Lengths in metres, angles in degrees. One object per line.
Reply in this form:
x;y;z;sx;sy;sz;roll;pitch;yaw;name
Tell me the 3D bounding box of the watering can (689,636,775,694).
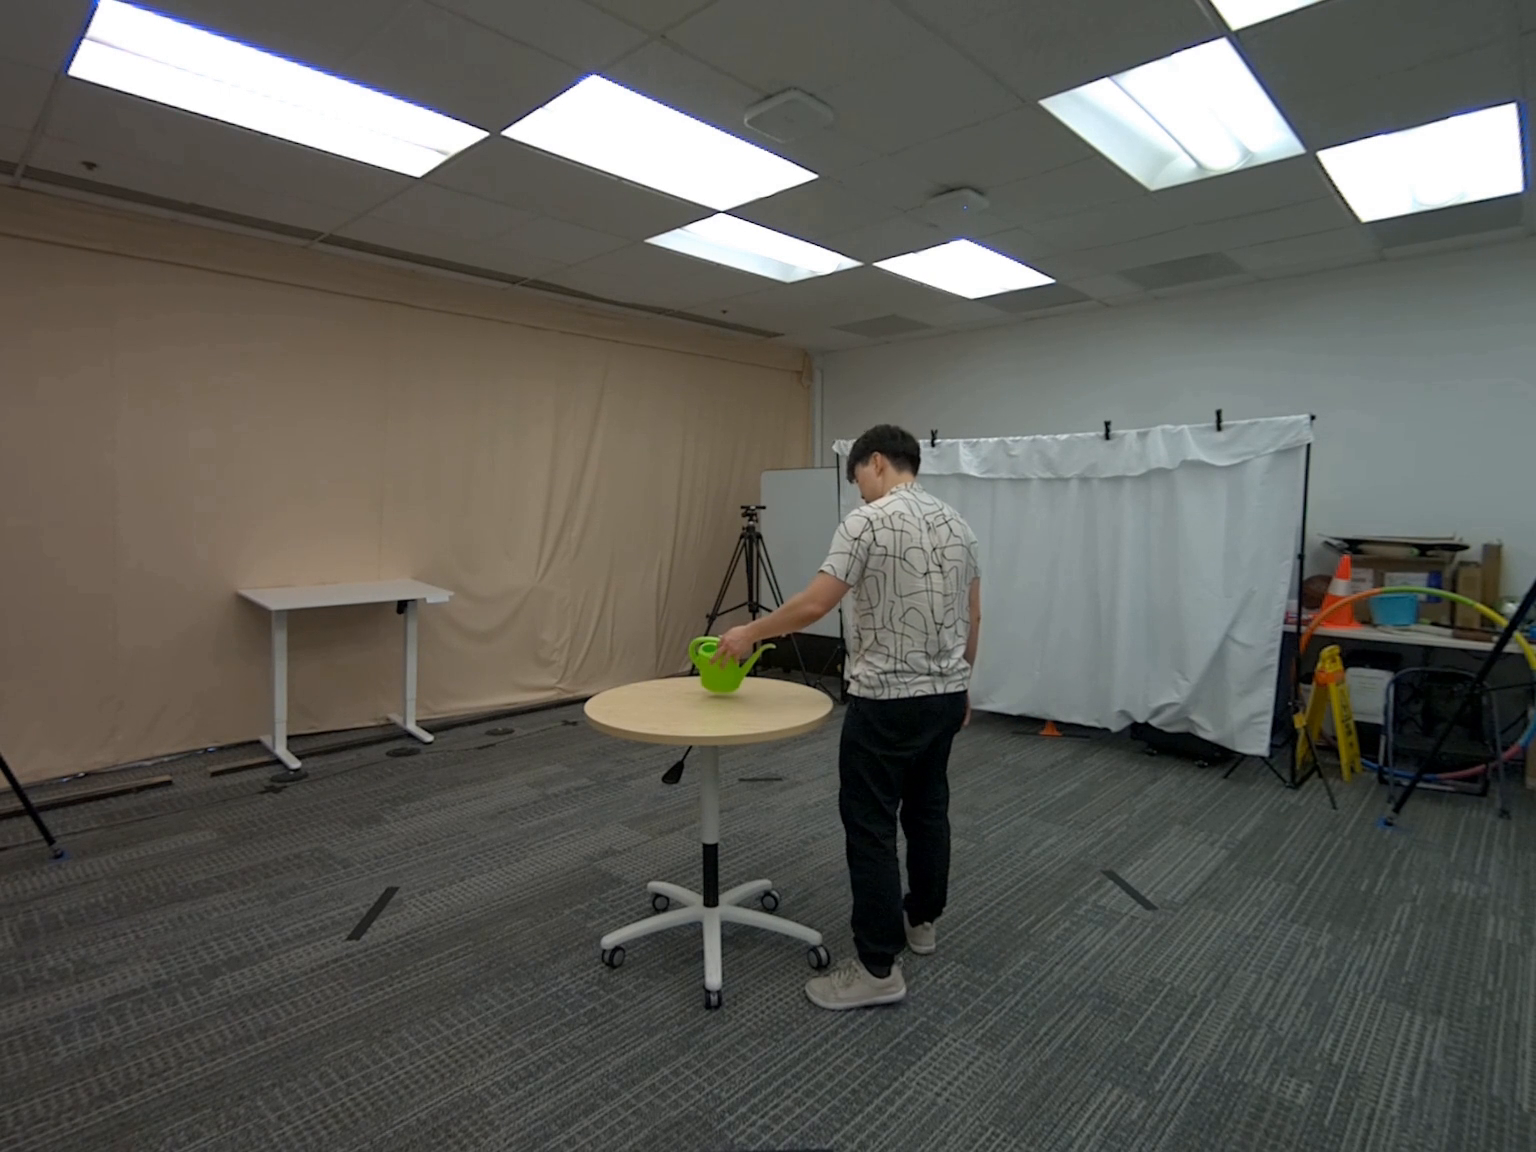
-0.107;0.279;2.618;0.286;0.174;0.096;9;27;28;watering can
